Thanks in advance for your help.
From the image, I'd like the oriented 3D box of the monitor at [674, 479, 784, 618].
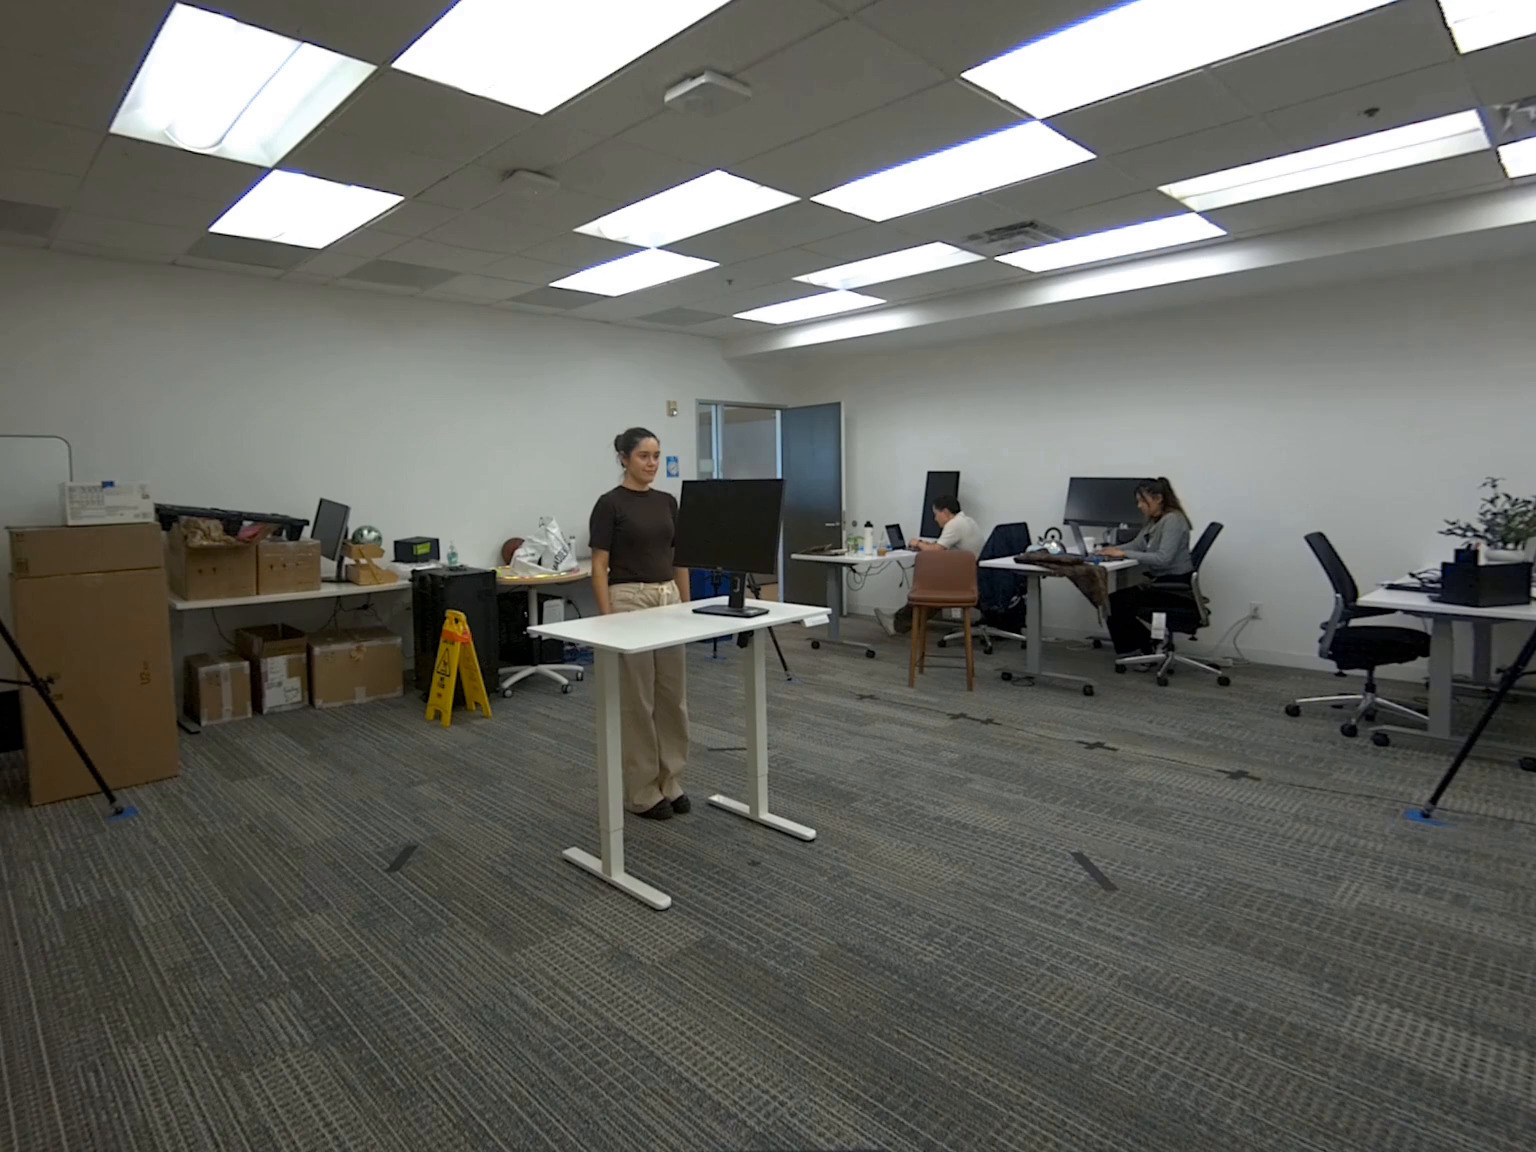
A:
[{"bbox_3d":[-0.140,-0.110,3.279,0.555,0.520,0.182,3,7,43],"label":"monitor"}]
